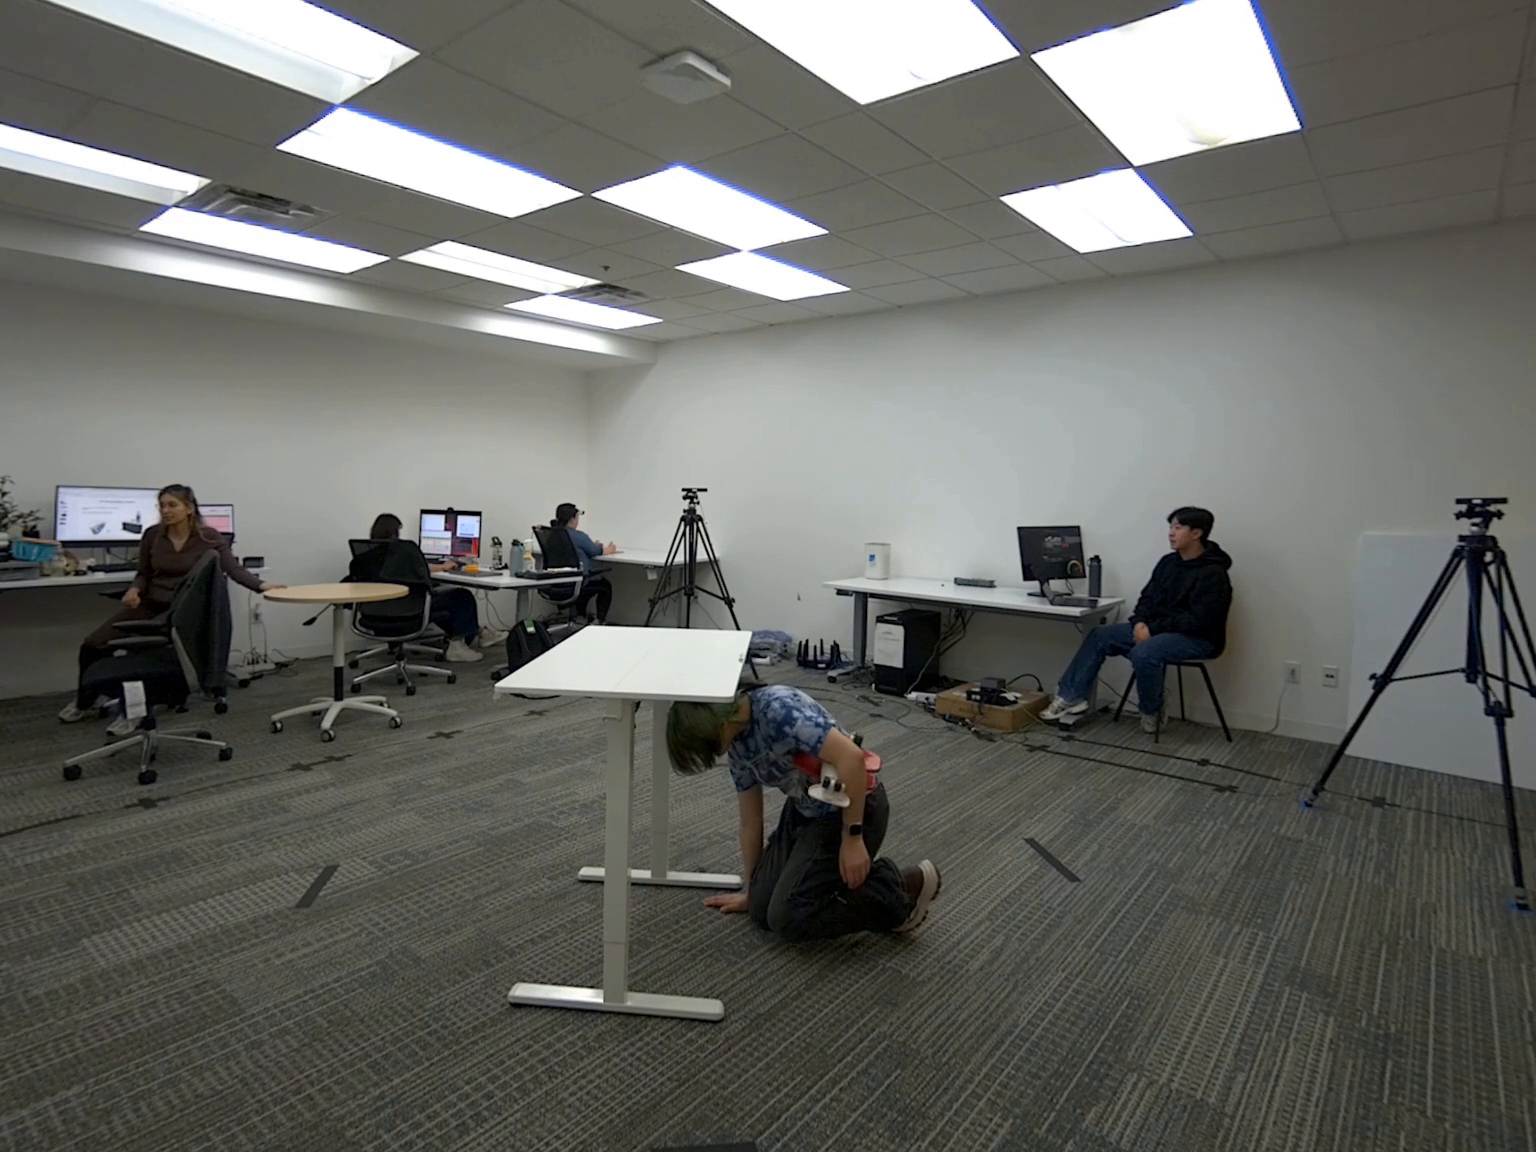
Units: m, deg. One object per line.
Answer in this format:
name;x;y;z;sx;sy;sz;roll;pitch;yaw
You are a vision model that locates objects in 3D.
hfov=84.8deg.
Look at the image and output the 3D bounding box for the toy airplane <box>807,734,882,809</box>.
toy airplane;0.178;0.572;2.547;0.260;0.152;0.256;36;51;27
